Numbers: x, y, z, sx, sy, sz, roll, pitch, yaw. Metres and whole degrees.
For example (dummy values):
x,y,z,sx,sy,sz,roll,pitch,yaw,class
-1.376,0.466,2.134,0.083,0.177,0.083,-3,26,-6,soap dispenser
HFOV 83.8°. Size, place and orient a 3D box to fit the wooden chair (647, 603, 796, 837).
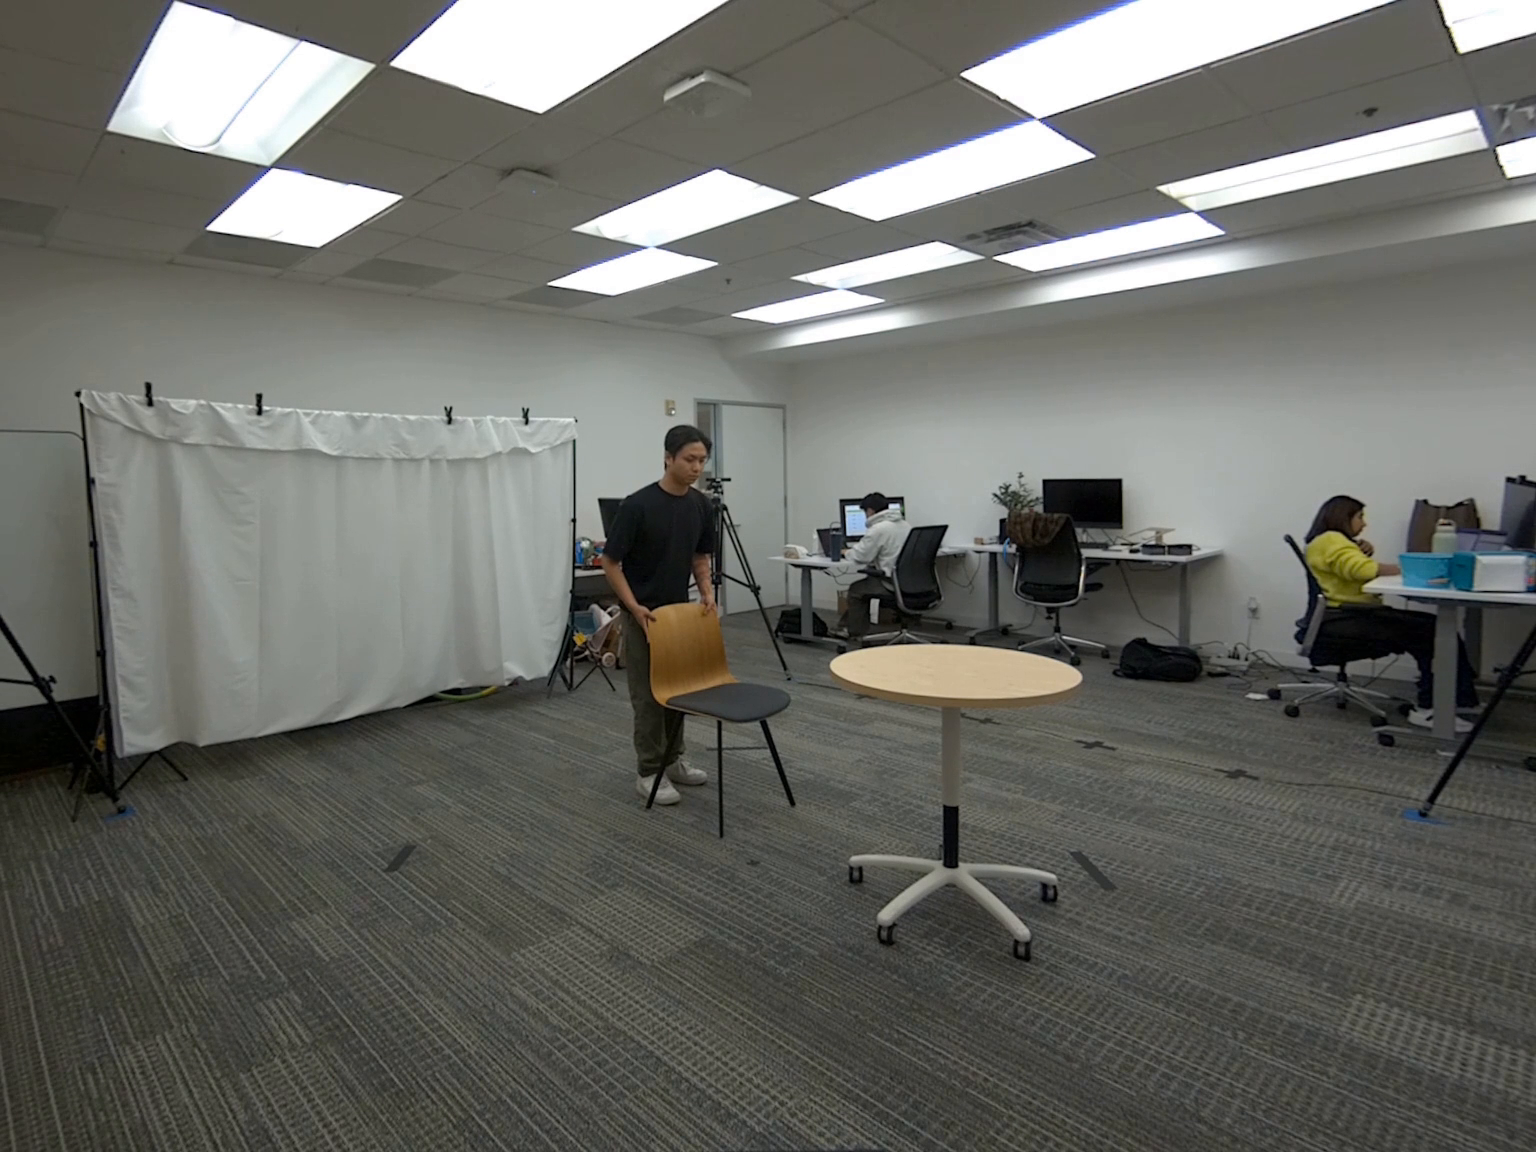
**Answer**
x,y,z,sx,sy,sz,roll,pitch,yaw,class
-0.200,0.560,3.596,0.537,0.878,0.465,-4,0,43,wooden chair
